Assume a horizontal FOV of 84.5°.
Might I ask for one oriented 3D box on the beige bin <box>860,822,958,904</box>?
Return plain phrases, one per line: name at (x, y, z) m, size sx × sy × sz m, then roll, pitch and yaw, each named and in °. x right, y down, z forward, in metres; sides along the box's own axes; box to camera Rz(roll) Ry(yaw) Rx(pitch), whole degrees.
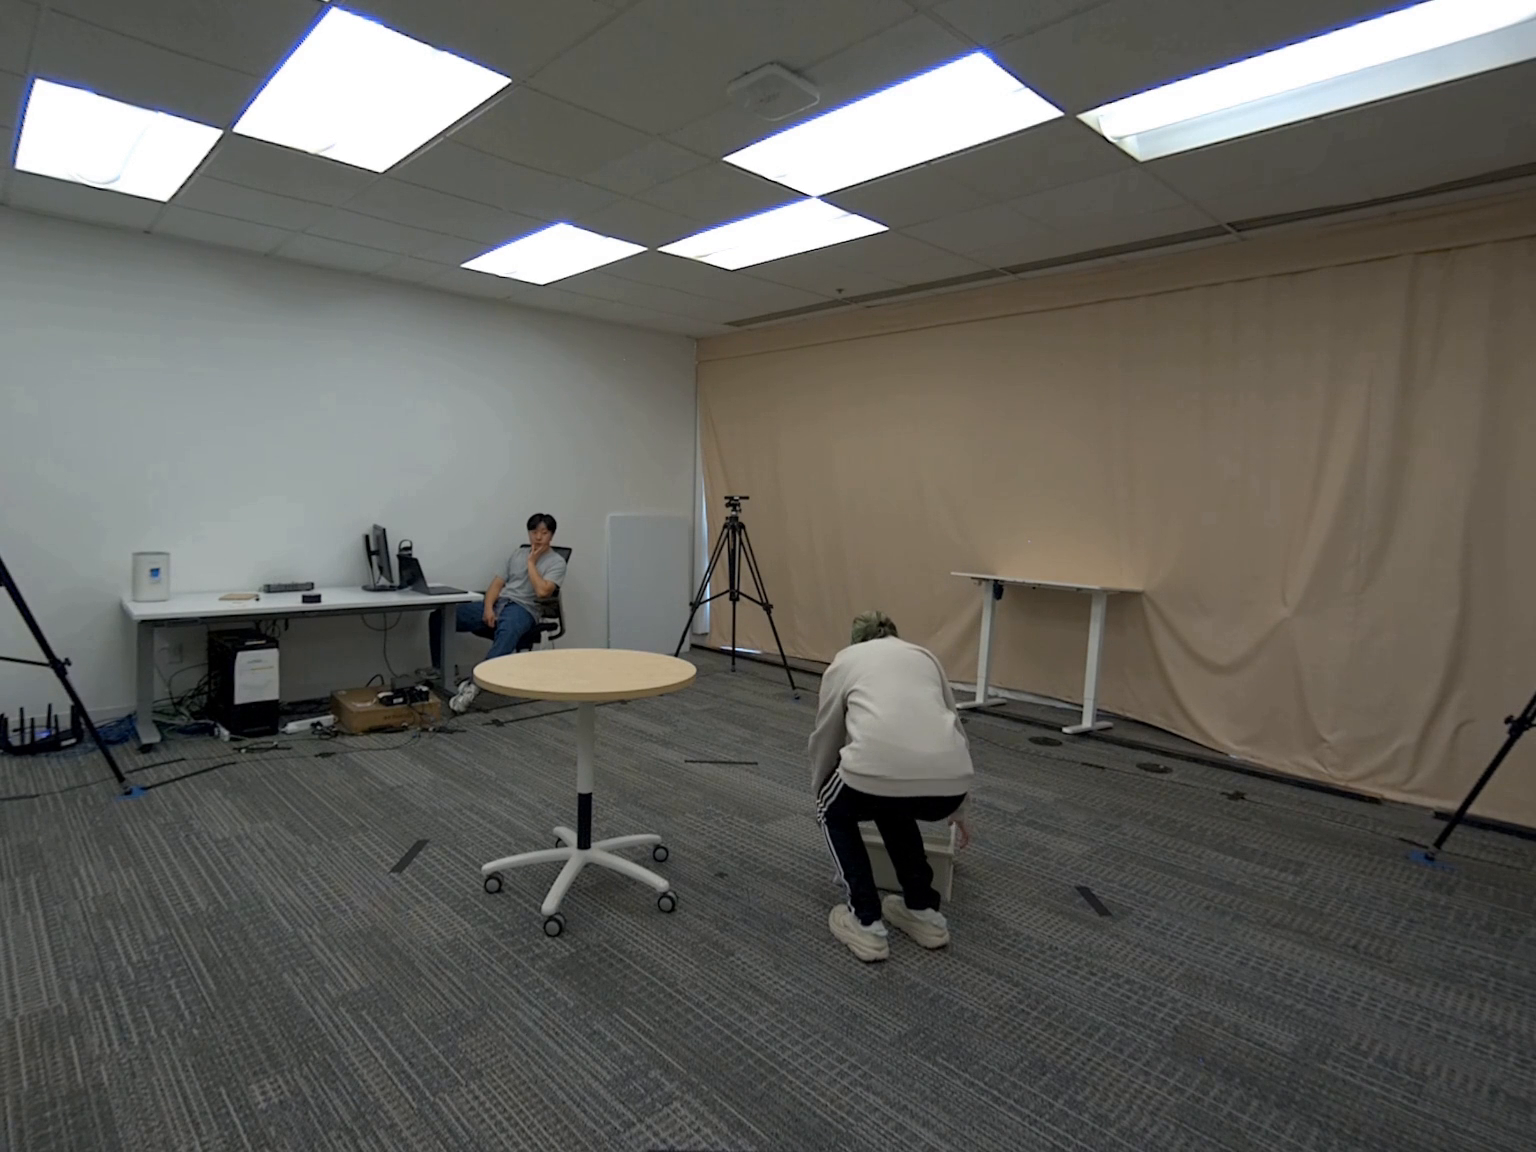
beige bin at (0.479, 1.024, 3.161) m, size 0.428 × 0.188 × 0.374 m, roll 3°, pitch 6°, yaw 15°
